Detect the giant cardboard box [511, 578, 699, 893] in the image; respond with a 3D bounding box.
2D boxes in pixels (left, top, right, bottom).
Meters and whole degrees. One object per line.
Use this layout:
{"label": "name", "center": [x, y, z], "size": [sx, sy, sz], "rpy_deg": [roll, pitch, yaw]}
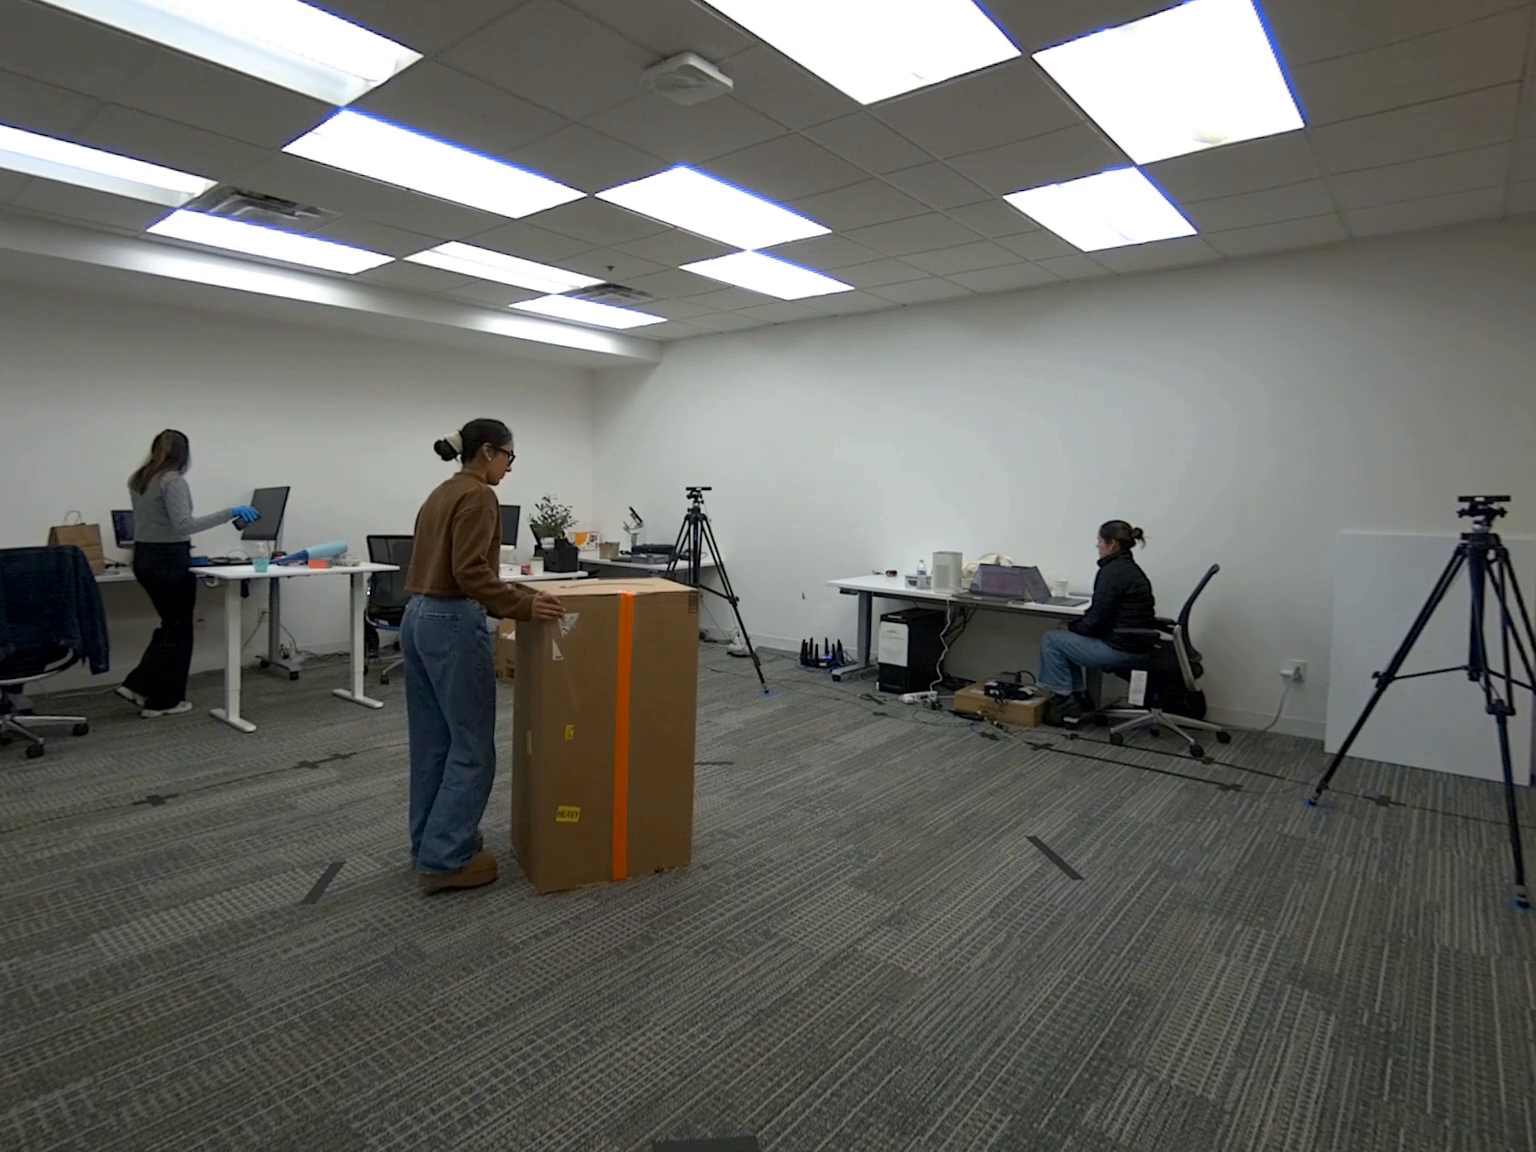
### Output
{"label": "giant cardboard box", "center": [-0.622, 0.544, 3.165], "size": [0.562, 1.023, 0.439], "rpy_deg": [0, 3, -29]}
